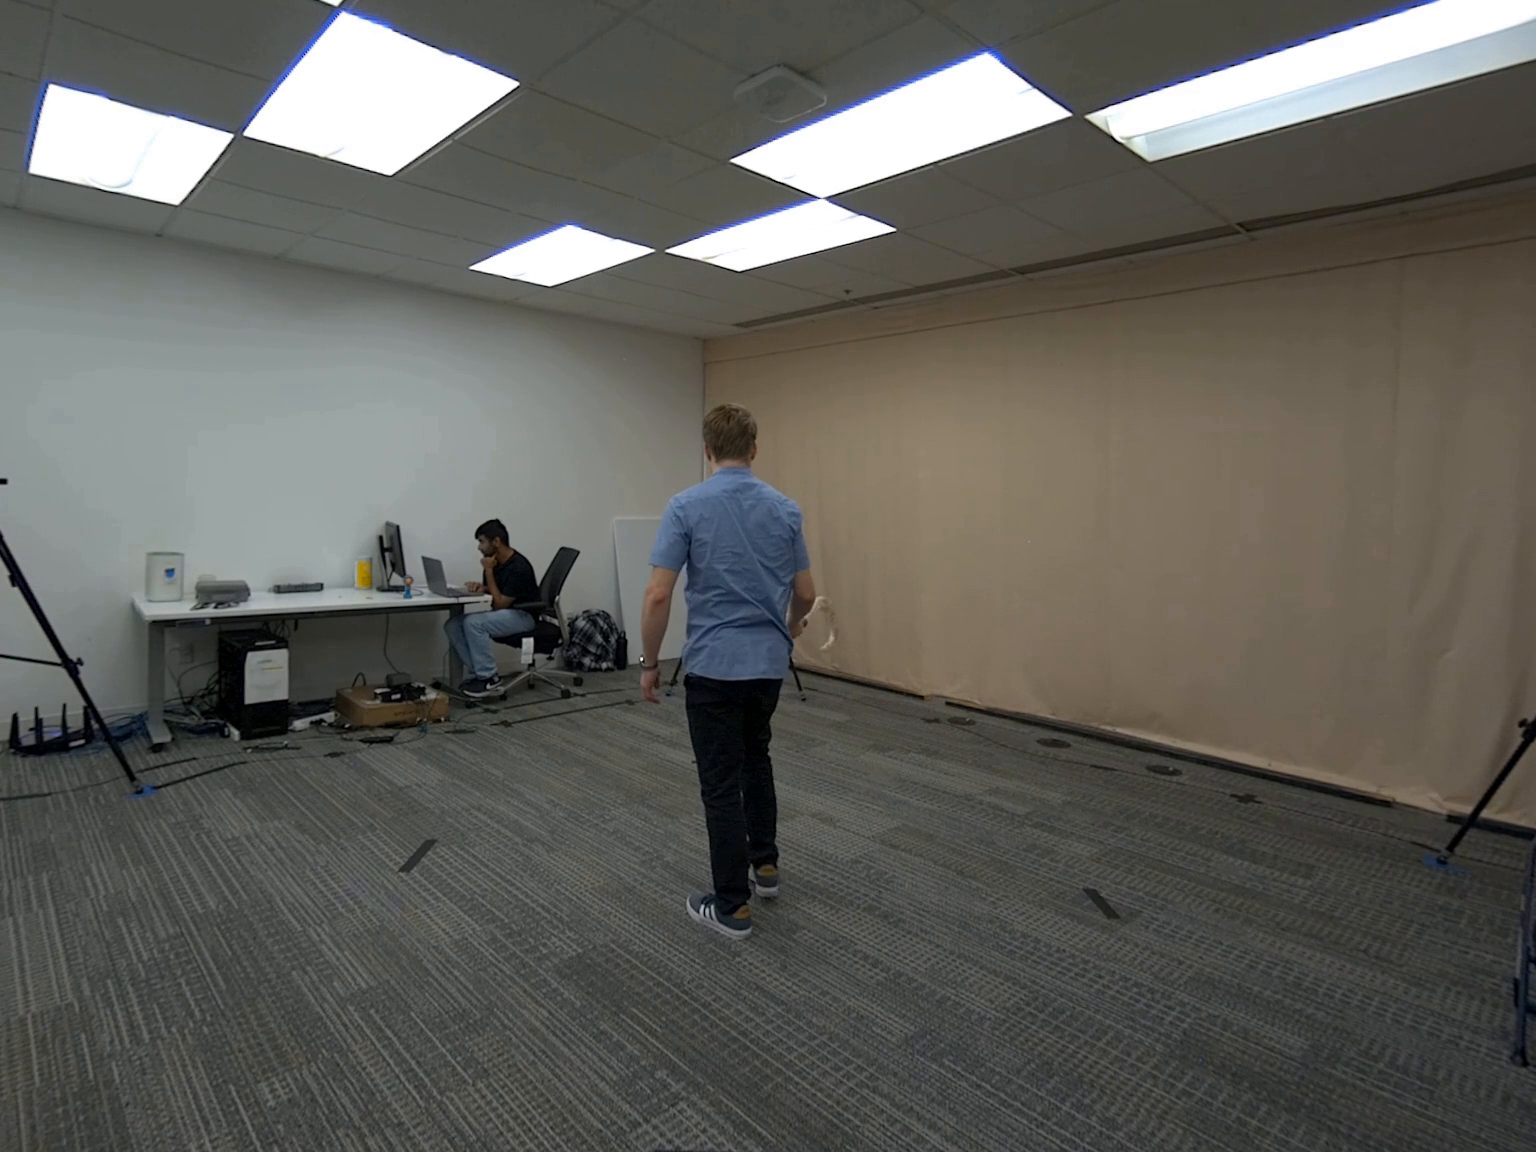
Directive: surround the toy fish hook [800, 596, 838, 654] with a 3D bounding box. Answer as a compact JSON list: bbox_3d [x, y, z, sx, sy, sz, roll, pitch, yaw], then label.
[{"bbox_3d":[0.162,0.222,3.286,0.049,0.224,0.500,-15,2,28],"label":"toy fish hook"}]
